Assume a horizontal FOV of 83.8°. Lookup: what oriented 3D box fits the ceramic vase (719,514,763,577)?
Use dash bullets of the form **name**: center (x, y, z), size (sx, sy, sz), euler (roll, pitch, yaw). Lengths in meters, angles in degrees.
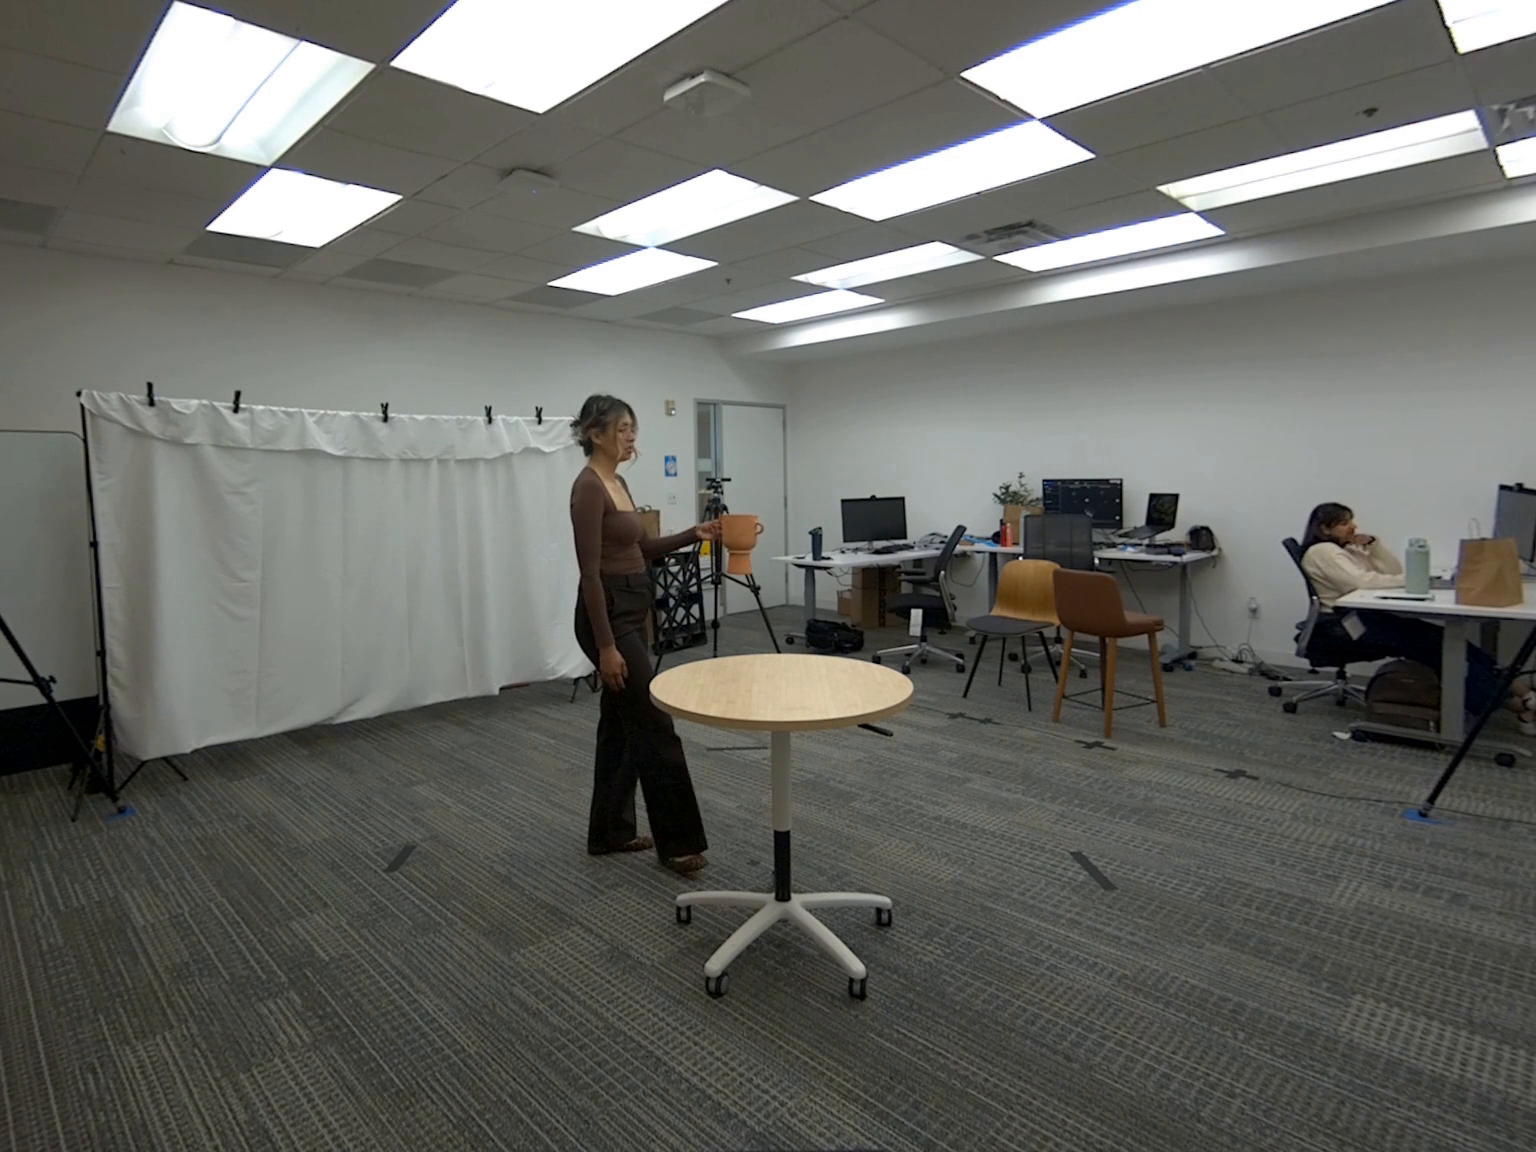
- **ceramic vase**: center (-0.111, -0.119, 3.183), size (0.131, 0.219, 0.163), euler (0, 3, -27)
